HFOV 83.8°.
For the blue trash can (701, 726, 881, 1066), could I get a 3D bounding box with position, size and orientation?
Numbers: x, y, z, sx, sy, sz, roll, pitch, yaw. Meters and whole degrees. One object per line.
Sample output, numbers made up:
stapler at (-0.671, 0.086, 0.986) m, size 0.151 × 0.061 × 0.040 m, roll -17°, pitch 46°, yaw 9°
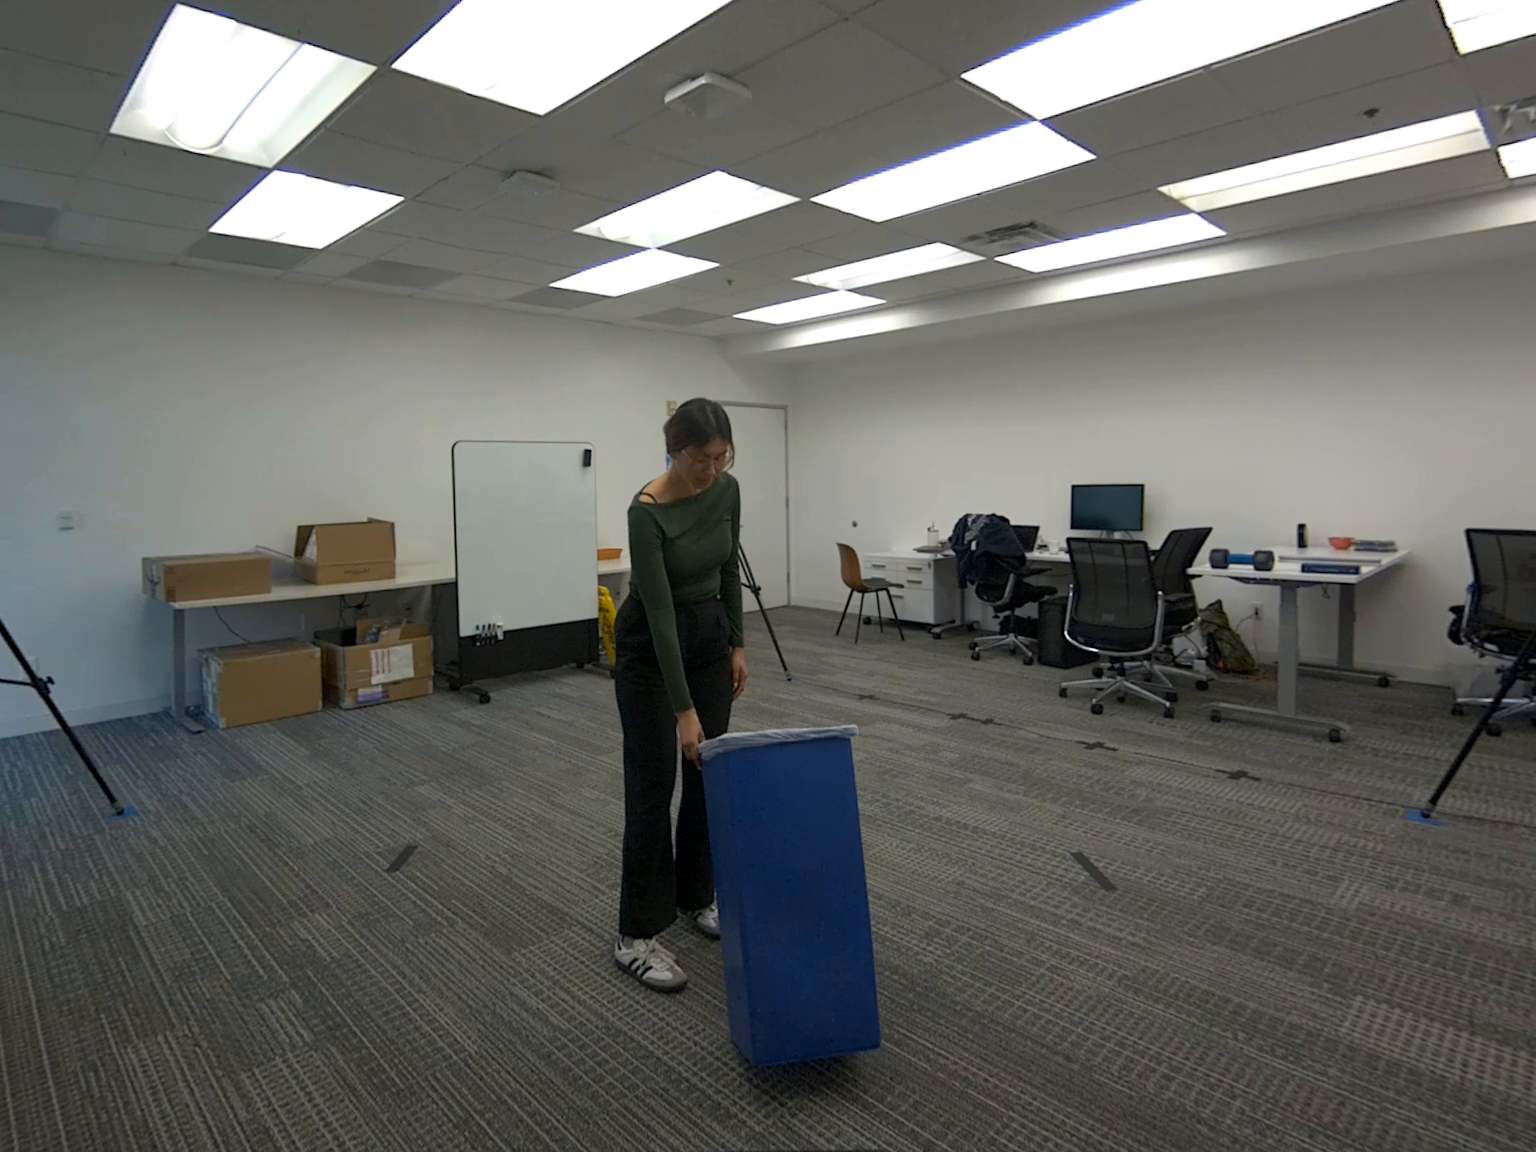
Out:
blue trash can at (0.051, 0.770, 2.142) m, size 0.374 × 0.726 × 0.372 m, roll -3°, pitch -17°, yaw -13°
